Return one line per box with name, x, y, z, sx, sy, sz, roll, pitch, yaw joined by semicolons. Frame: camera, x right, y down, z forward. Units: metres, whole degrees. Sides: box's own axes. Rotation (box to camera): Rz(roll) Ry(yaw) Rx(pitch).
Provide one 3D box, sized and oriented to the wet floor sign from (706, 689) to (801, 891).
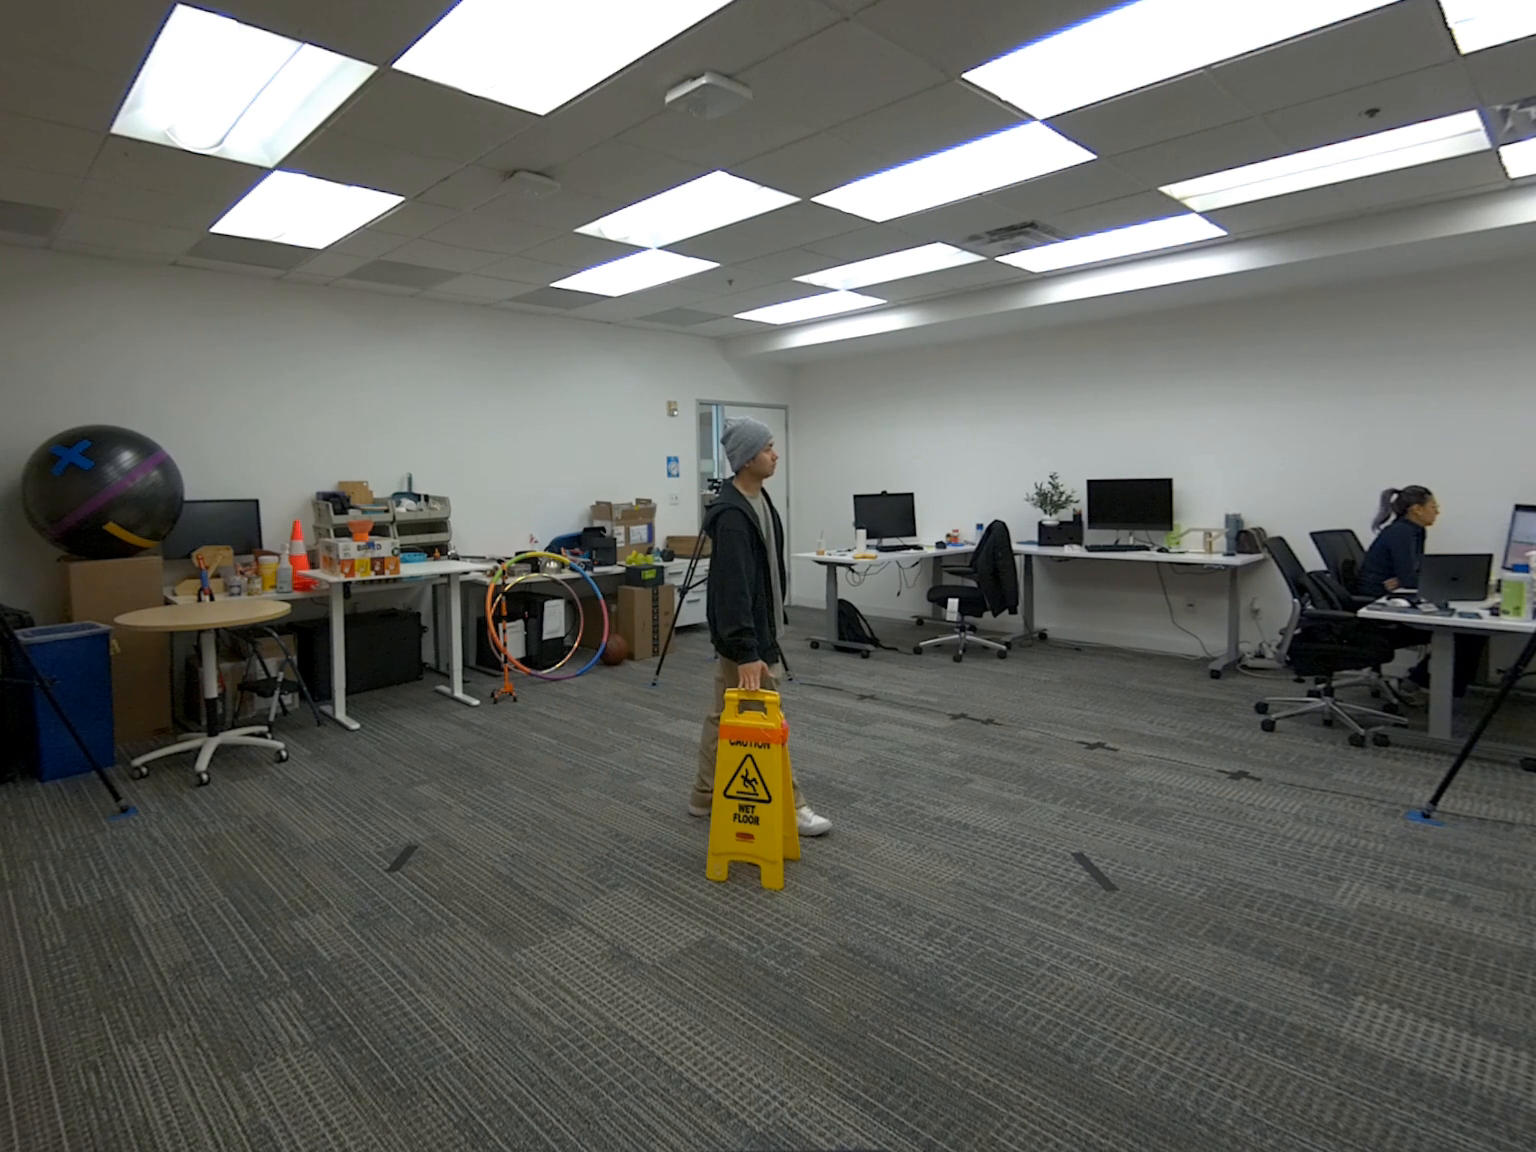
wet floor sign;-0.056;0.731;3.040;0.287;0.643;0.286;-1;4;18
